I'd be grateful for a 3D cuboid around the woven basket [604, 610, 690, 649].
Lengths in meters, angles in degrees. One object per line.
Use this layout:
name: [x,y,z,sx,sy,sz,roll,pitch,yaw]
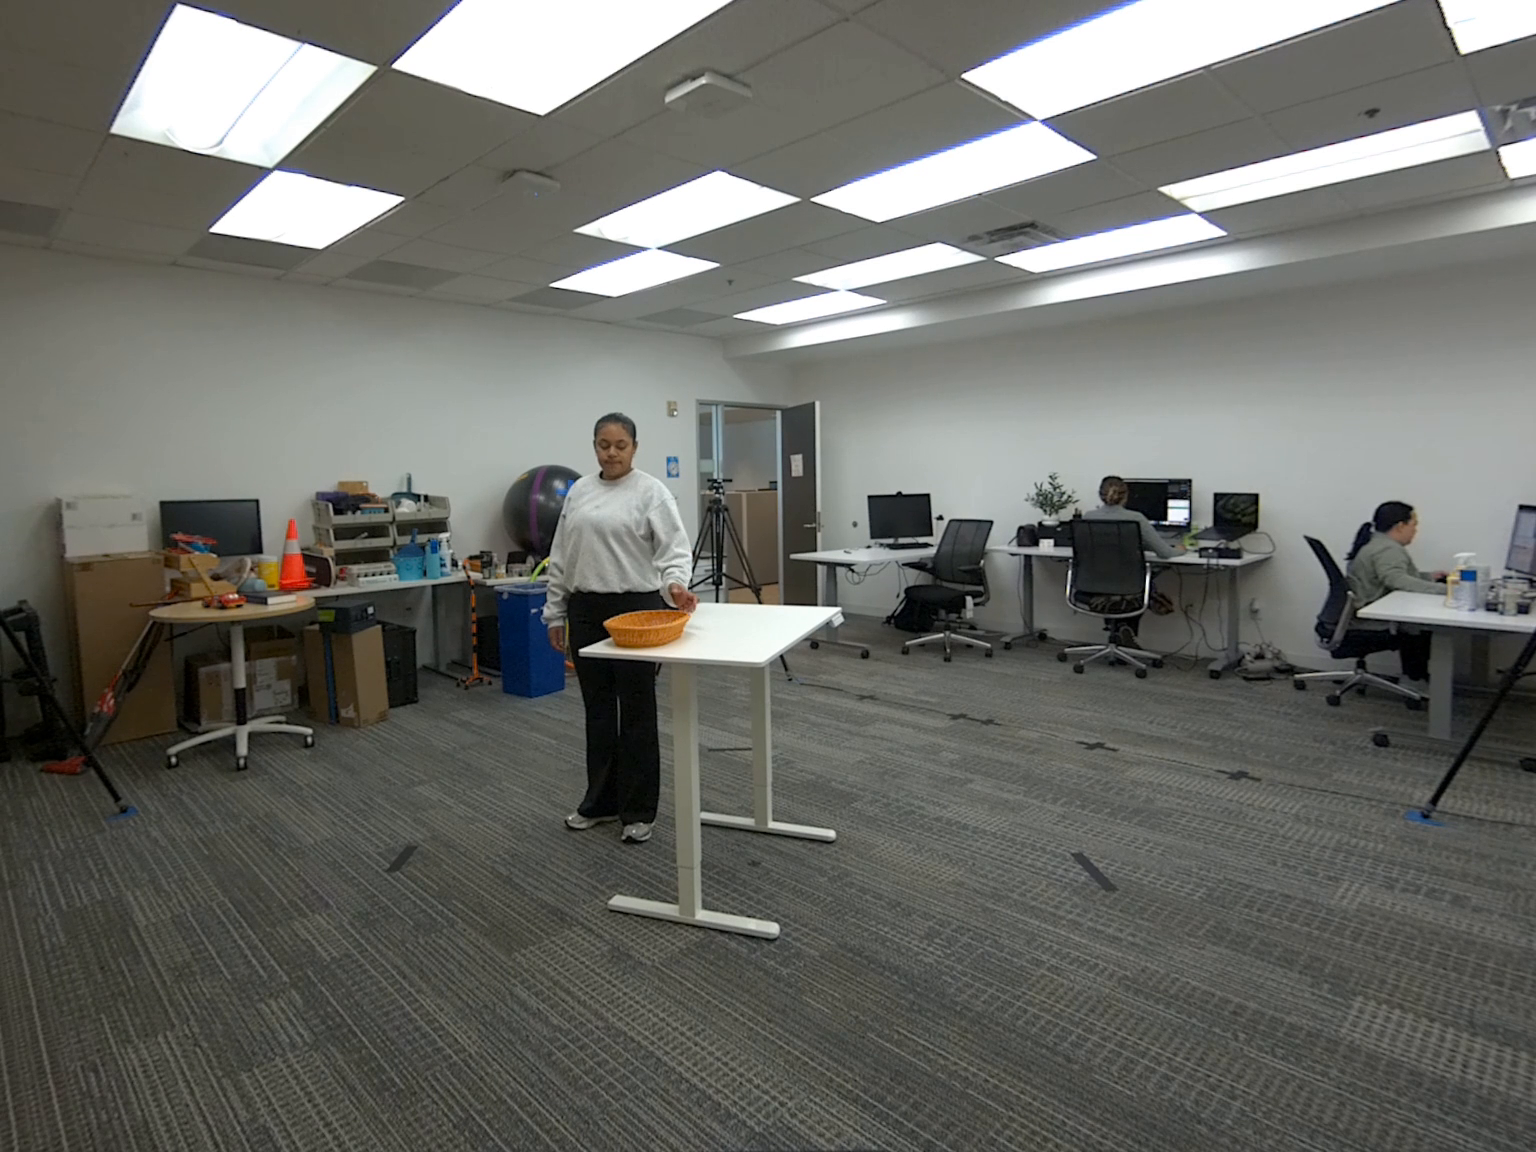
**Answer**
woven basket: [-0.391,0.173,2.794,0.257,0.073,0.346,1,7,17]
